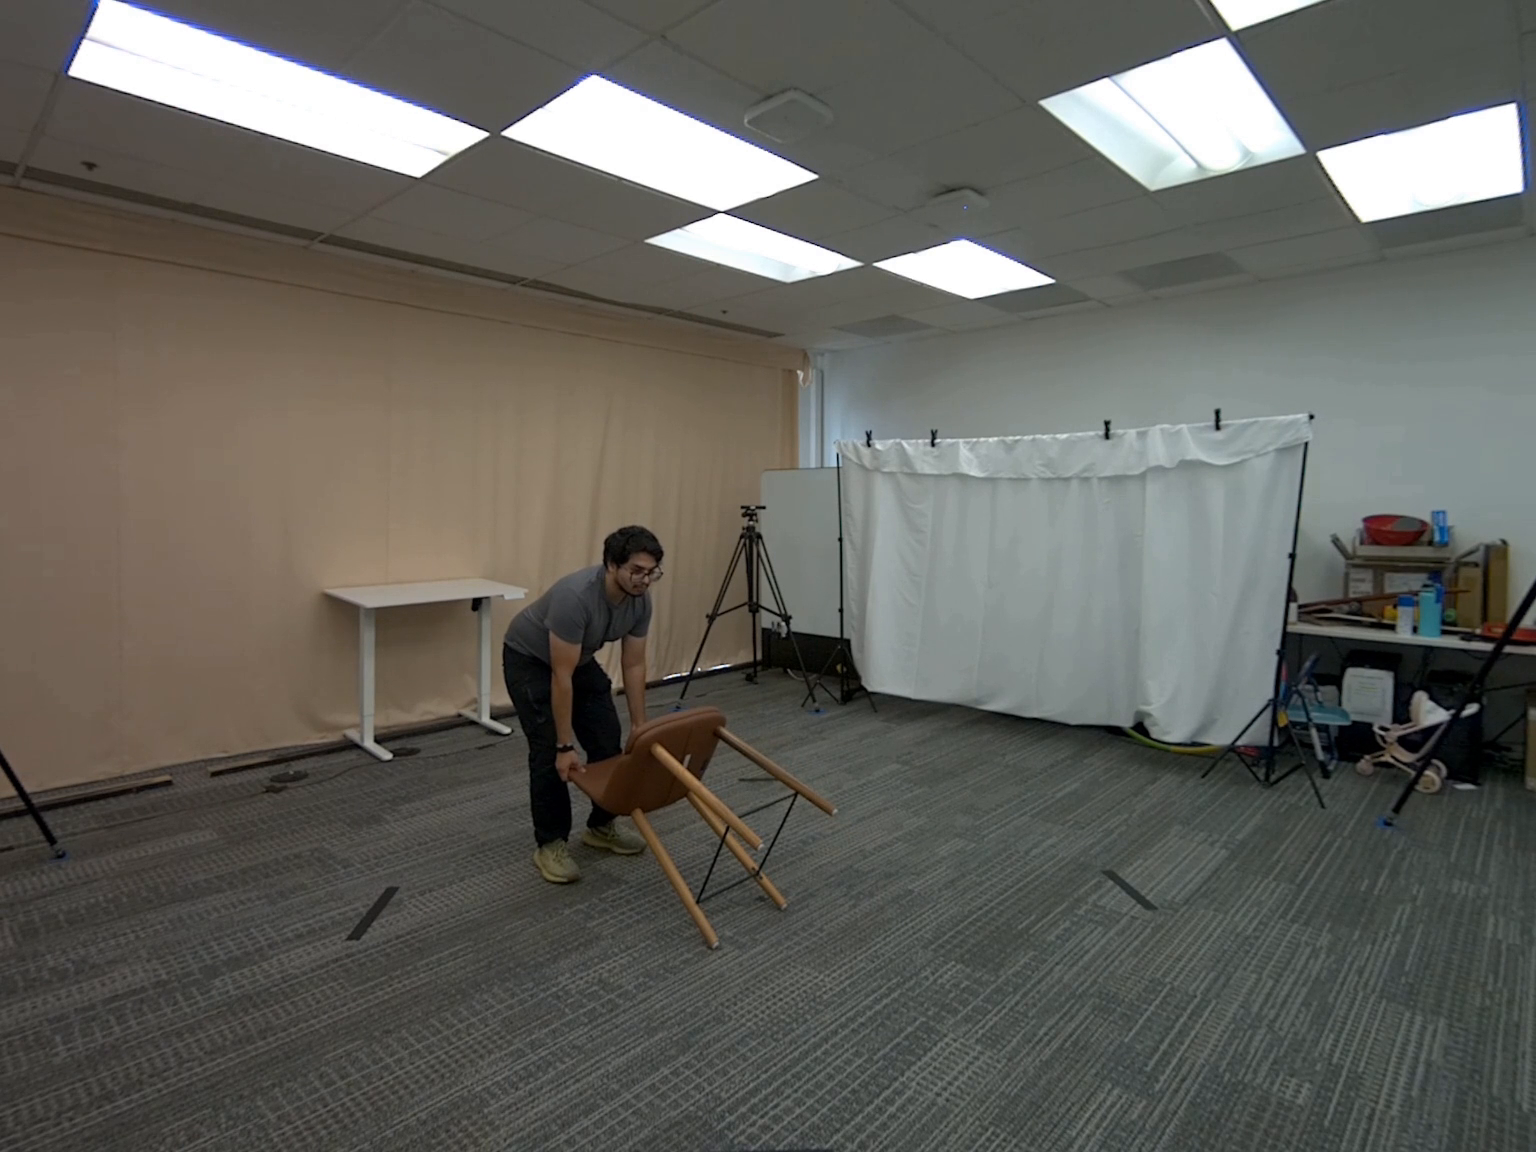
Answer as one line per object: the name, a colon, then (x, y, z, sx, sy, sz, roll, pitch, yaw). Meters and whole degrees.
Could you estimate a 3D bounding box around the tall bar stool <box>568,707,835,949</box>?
tall bar stool: (-0.276, 0.753, 2.951, 0.921, 0.465, 0.442, 35, 25, 35)
